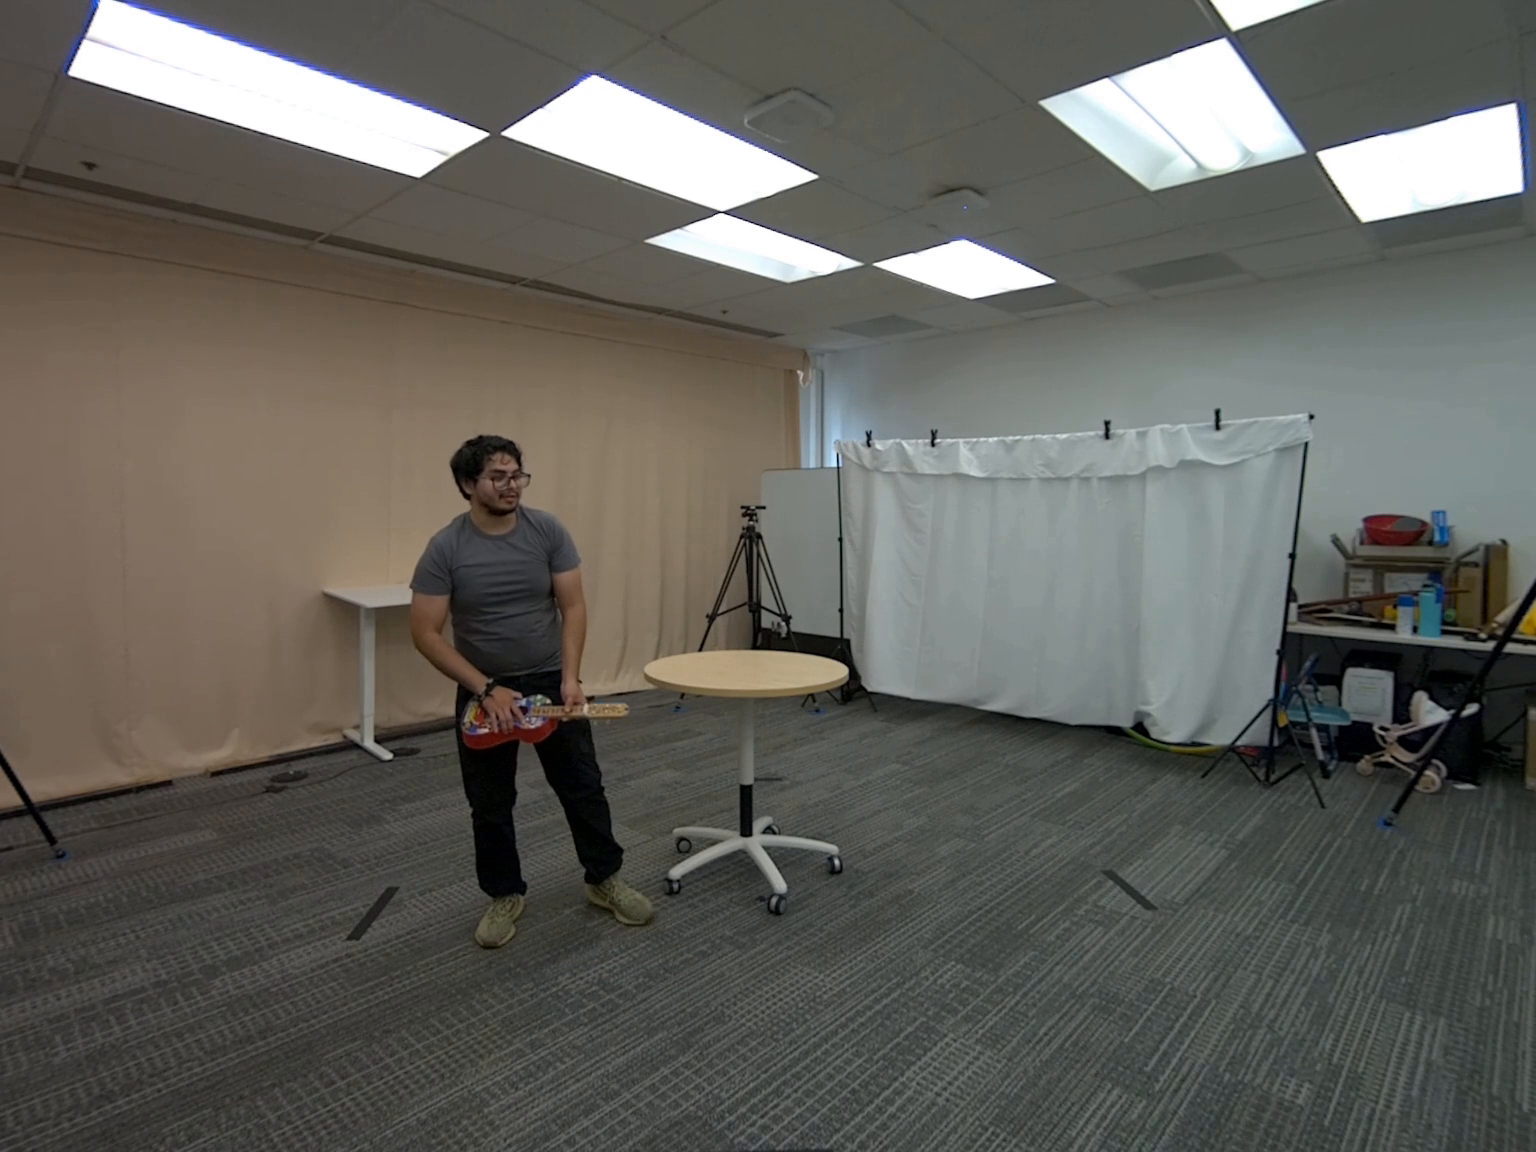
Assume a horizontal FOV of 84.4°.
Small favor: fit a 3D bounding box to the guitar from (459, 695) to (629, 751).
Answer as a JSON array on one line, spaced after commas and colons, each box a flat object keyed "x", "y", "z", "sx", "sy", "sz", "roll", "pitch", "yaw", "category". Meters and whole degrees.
[{"x": -0.654, "y": 0.435, "z": 2.515, "sx": 0.503, "sy": 0.069, "sz": 0.194, "roll": 3, "pitch": 32, "yaw": 9, "category": "guitar"}]
